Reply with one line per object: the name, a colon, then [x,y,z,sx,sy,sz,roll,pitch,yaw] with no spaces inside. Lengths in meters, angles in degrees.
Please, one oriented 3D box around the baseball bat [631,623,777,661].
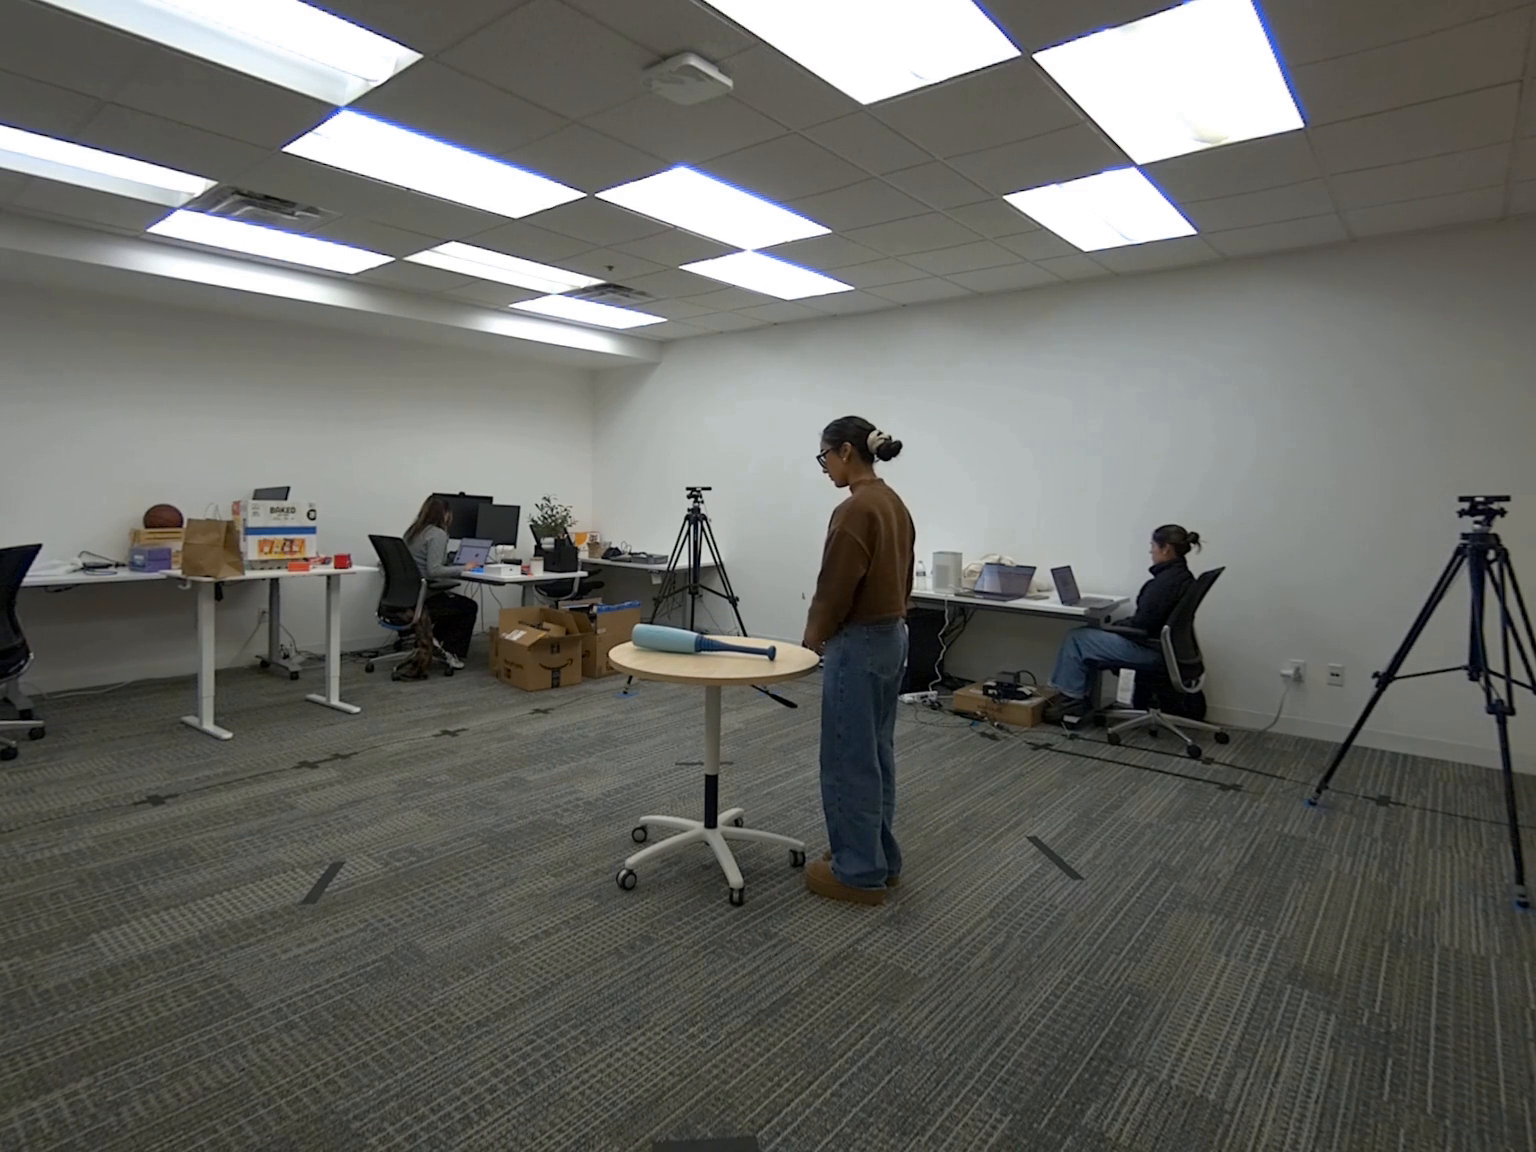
baseball bat: [-0.244,0.249,3.096,0.552,0.089,0.088,6,5,14]
